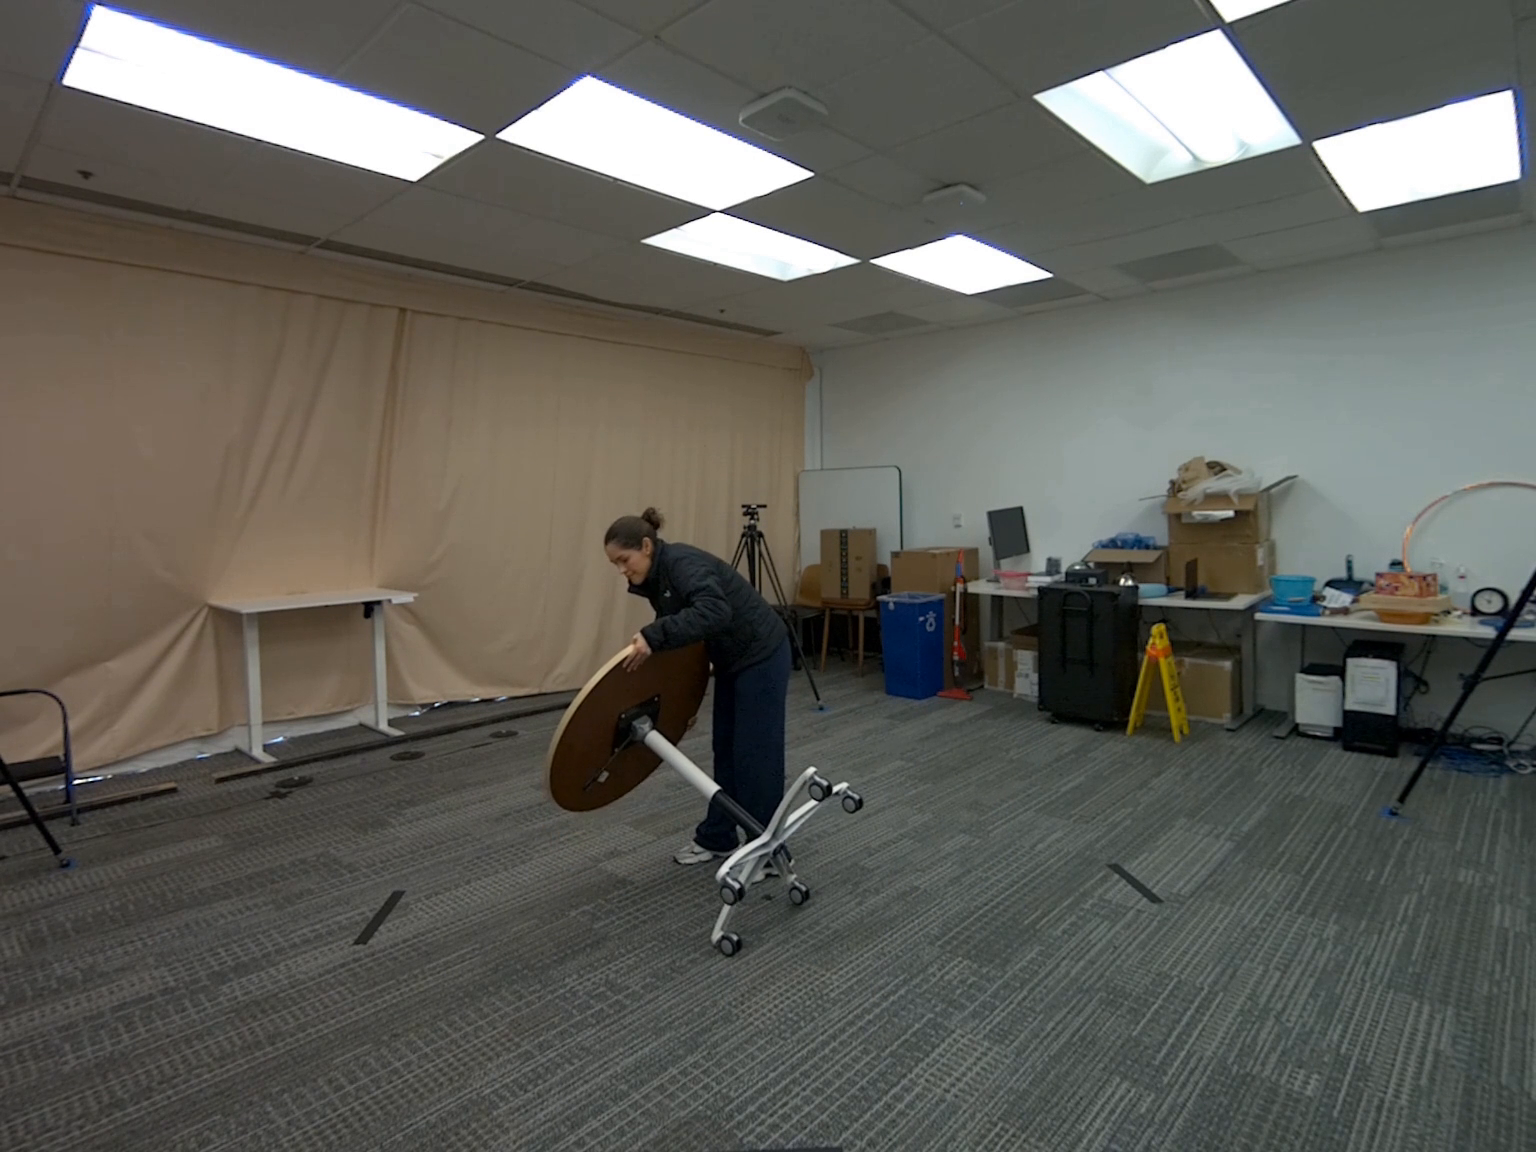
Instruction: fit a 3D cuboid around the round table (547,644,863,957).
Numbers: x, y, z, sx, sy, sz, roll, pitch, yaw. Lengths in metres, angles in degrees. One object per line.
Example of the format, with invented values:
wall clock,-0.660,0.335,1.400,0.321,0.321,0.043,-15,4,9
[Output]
round table,-0.192,0.714,2.831,0.812,0.782,0.762,34,22,30
